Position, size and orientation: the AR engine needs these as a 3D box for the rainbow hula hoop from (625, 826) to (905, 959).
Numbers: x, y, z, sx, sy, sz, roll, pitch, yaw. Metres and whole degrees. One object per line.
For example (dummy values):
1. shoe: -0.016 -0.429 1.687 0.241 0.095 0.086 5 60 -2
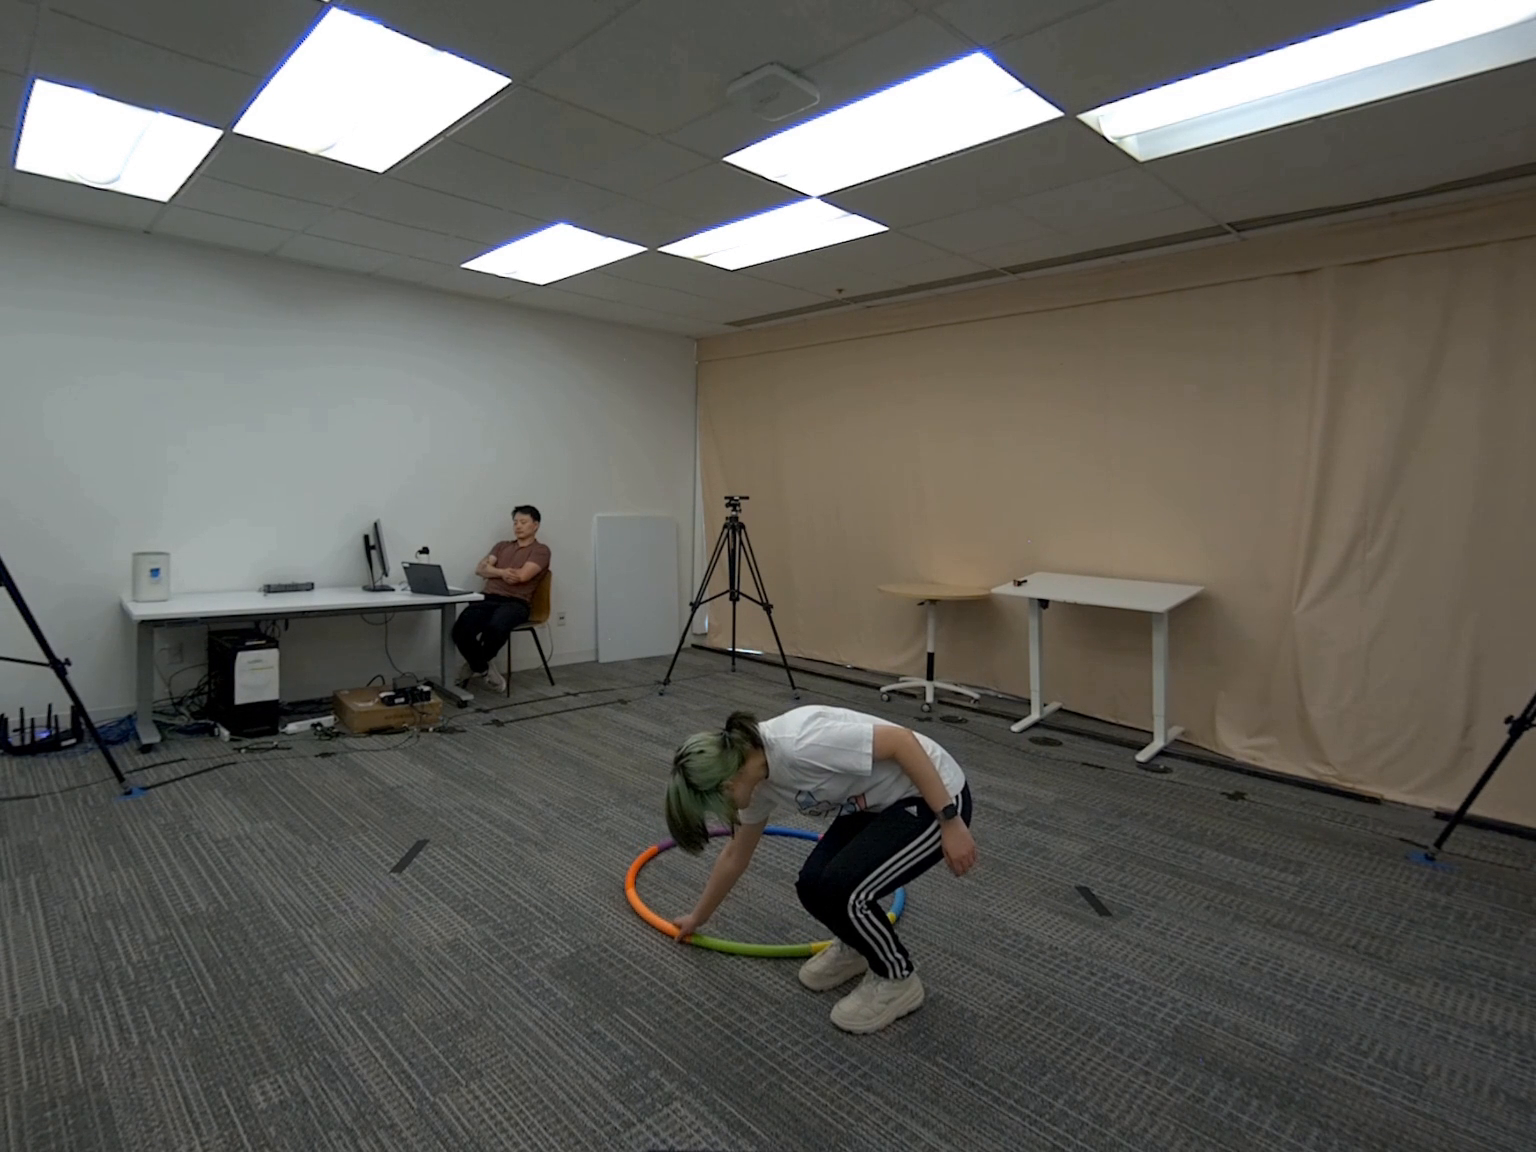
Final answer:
1. rainbow hula hoop: -0.019 1.079 3.023 0.978 0.035 0.982 1 5 -1
